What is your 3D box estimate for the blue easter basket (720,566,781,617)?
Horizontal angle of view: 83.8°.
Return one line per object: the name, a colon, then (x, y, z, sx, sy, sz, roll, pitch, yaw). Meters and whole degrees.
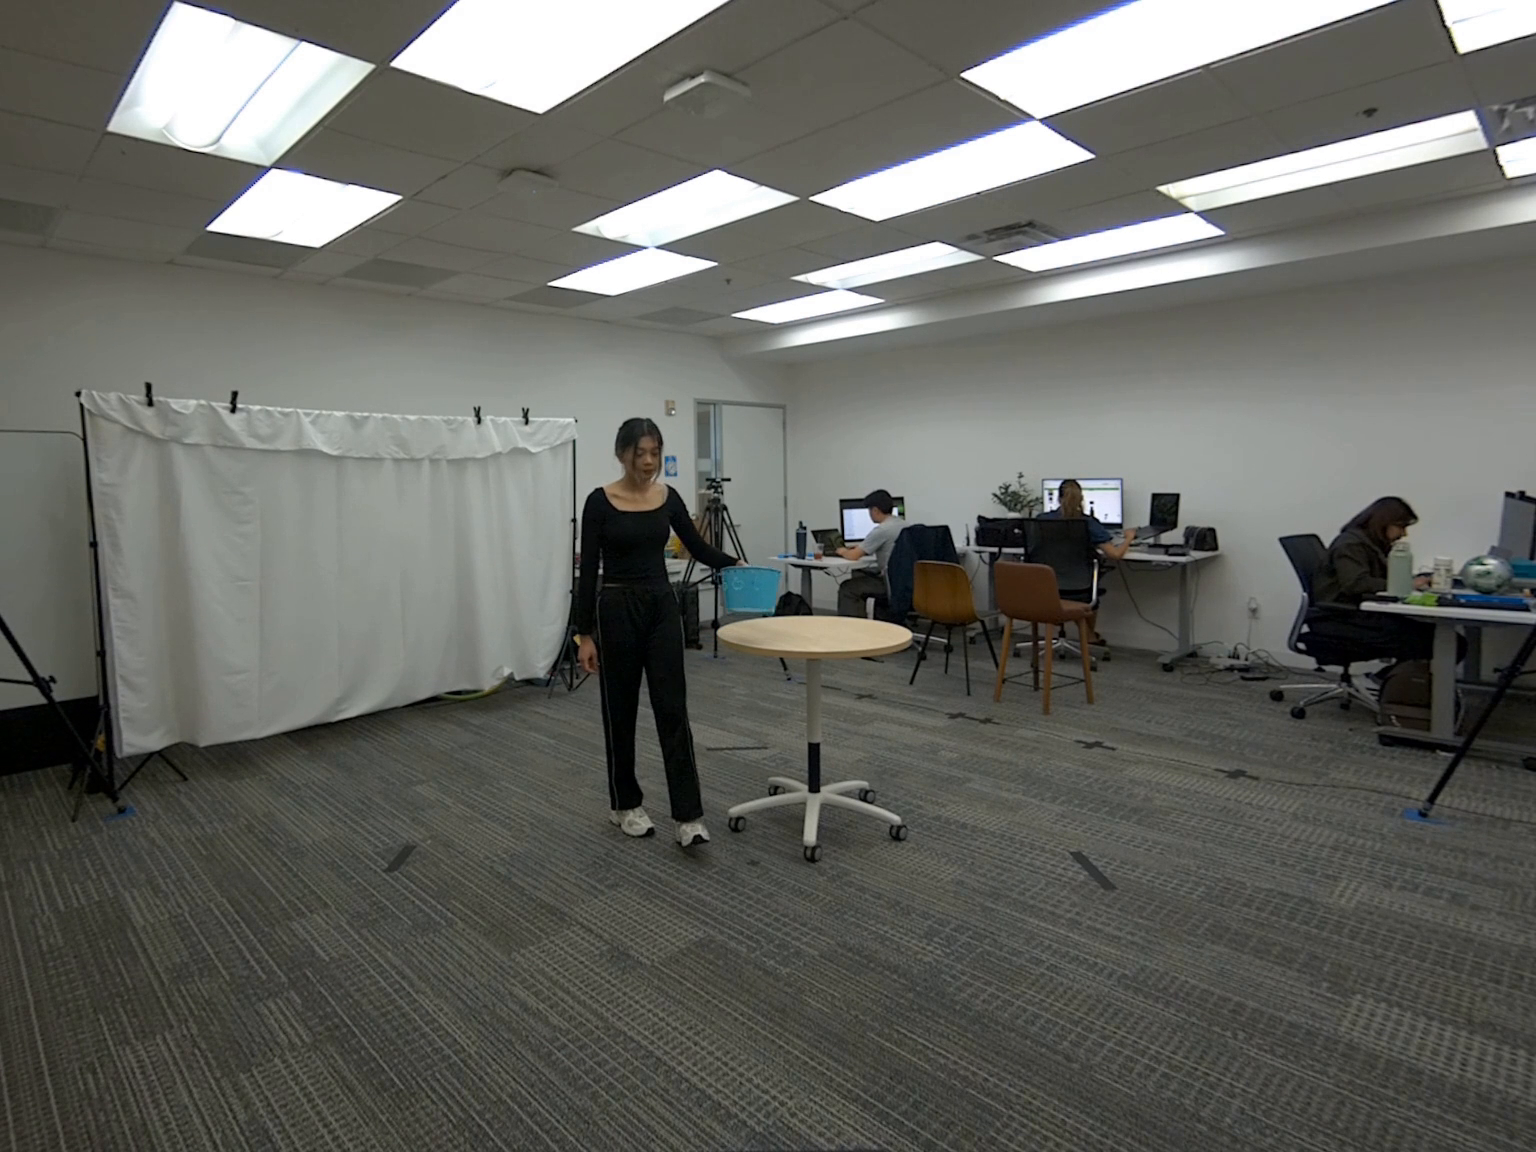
blue easter basket: (-0.057, 0.061, 3.173, 0.243, 0.157, 0.242, 1, -8, -1)
